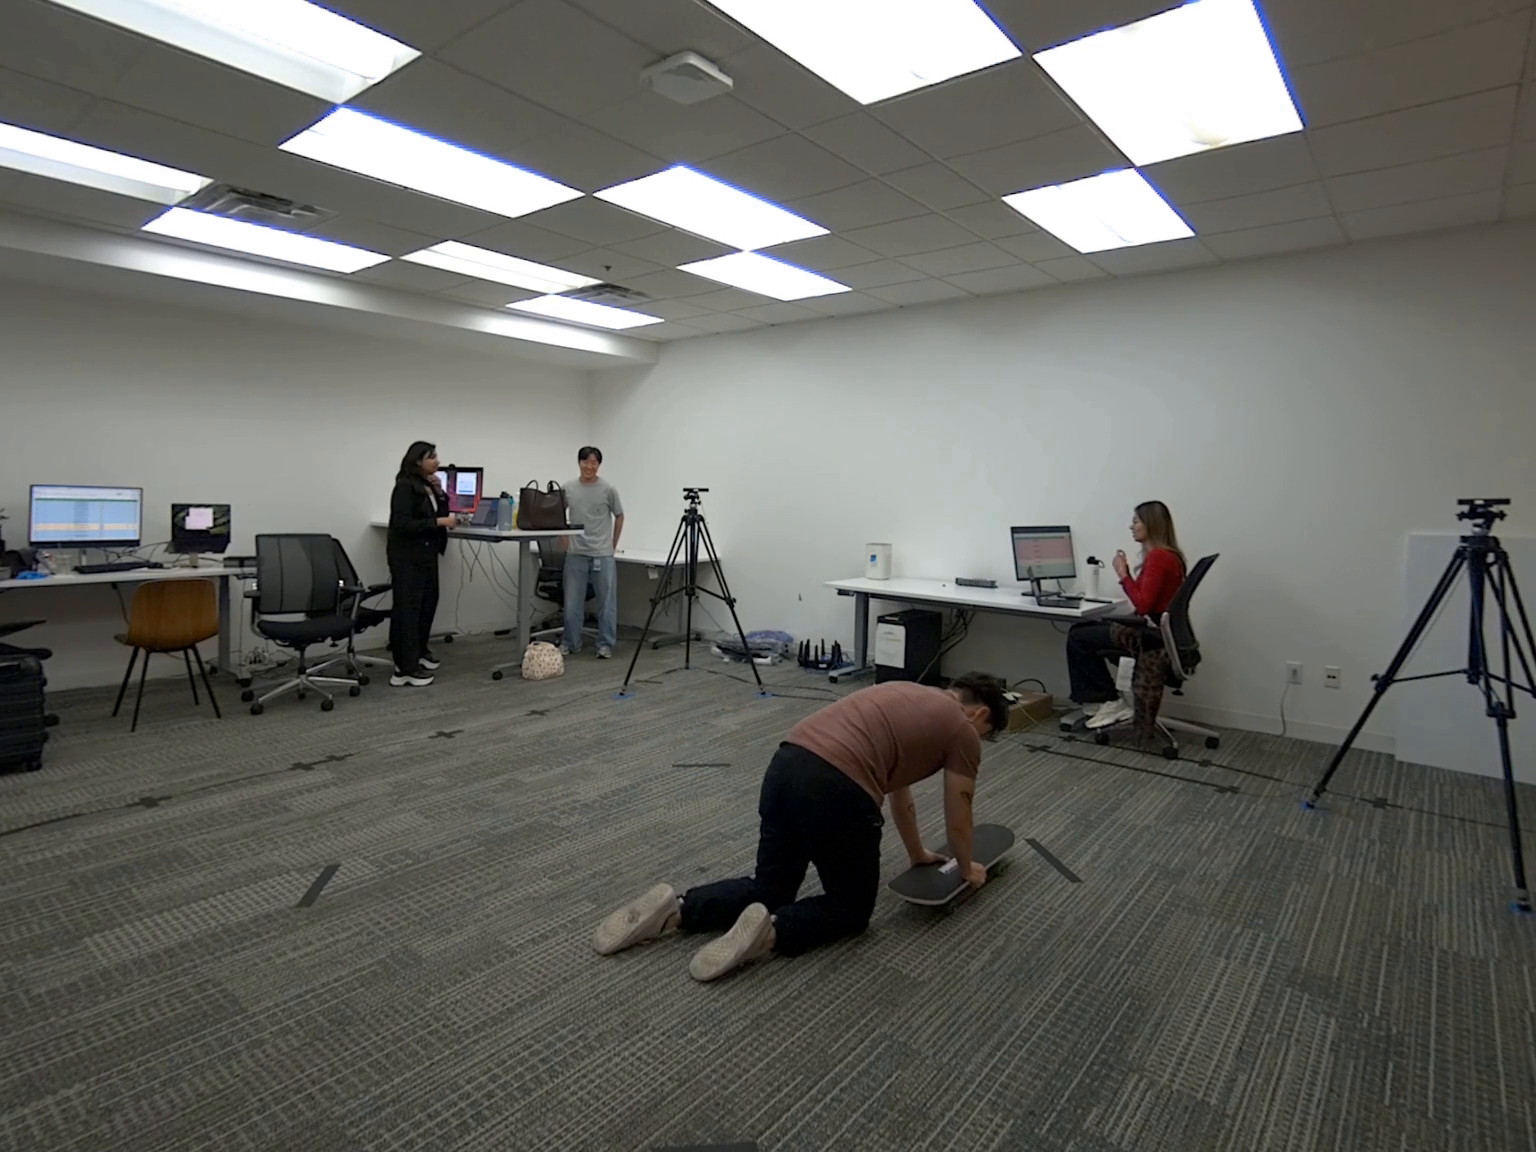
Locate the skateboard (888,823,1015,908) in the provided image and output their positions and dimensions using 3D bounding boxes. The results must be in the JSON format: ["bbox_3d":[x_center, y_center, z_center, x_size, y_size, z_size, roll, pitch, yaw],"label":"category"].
[{"bbox_3d":[0.658,1.048,3.014,0.200,0.110,0.763,6,8,39],"label":"skateboard"}]
